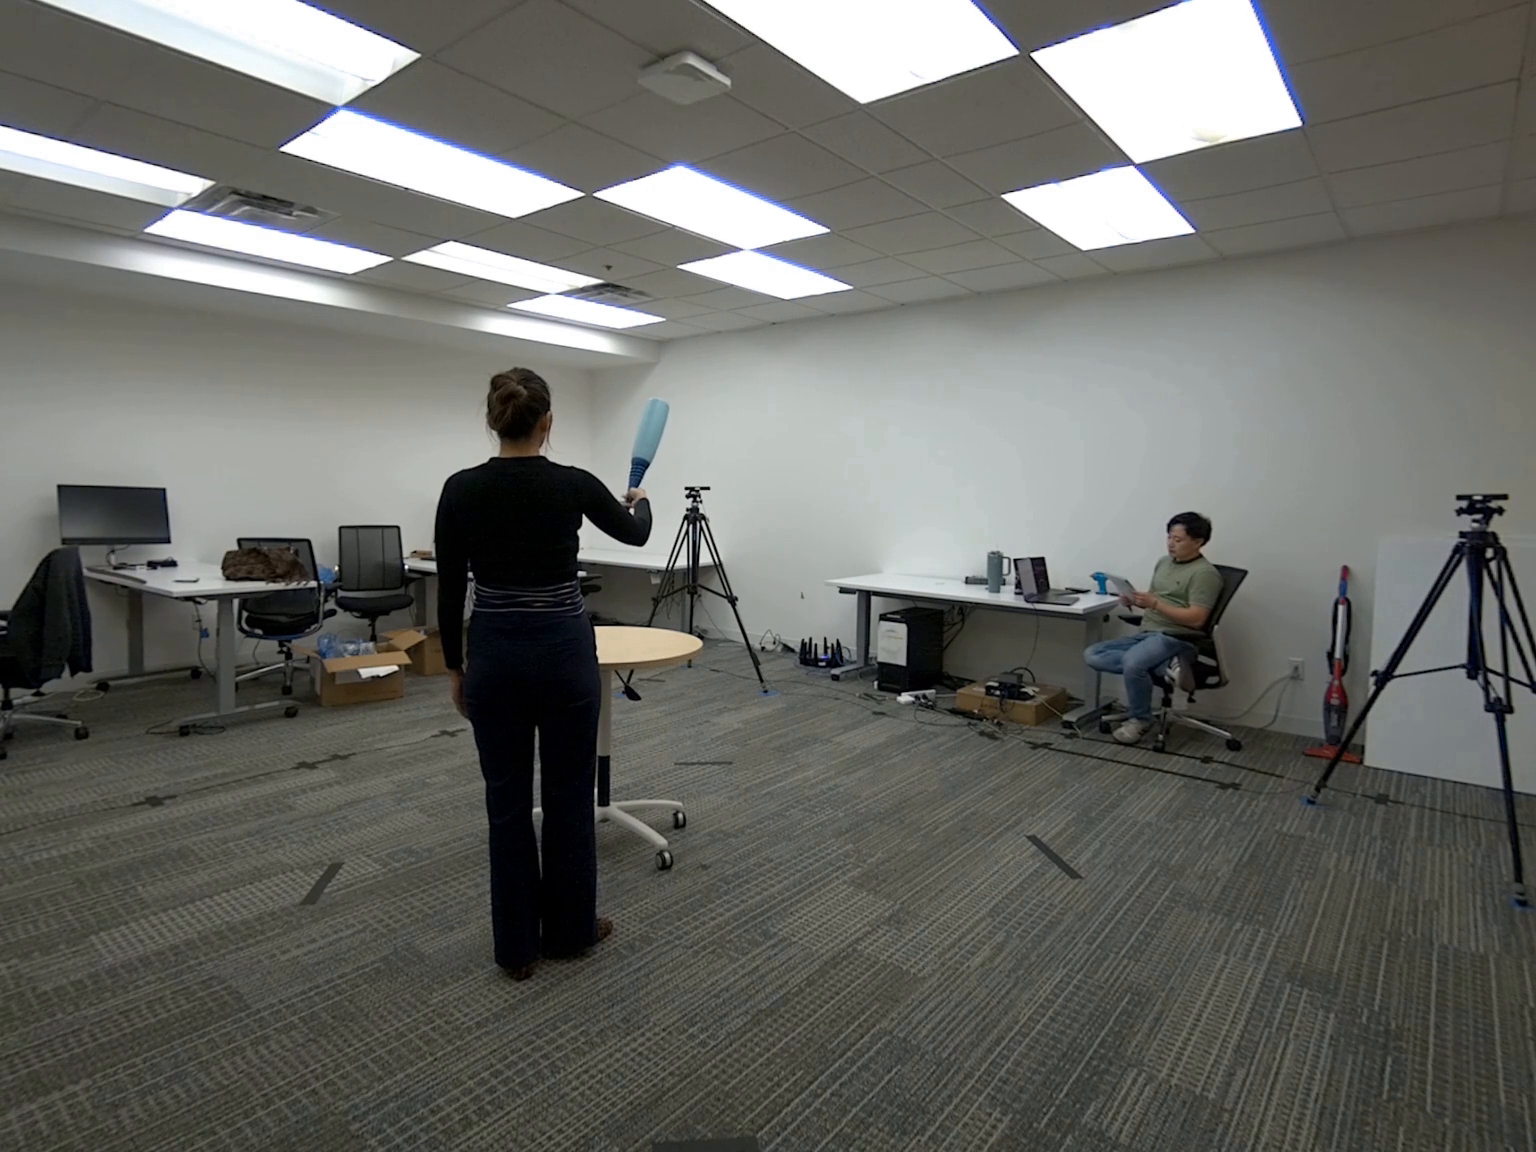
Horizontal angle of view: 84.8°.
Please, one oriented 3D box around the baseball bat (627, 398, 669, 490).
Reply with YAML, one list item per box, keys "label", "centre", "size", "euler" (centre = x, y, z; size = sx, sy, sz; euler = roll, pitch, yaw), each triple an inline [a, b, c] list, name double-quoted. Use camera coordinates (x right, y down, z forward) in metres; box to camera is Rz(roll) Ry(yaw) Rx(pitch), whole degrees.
- label: "baseball bat"
  centre: [-0.458, -0.384, 2.987]
  size: [0.089, 0.550, 0.087]
  euler: [13, -22, 3]
